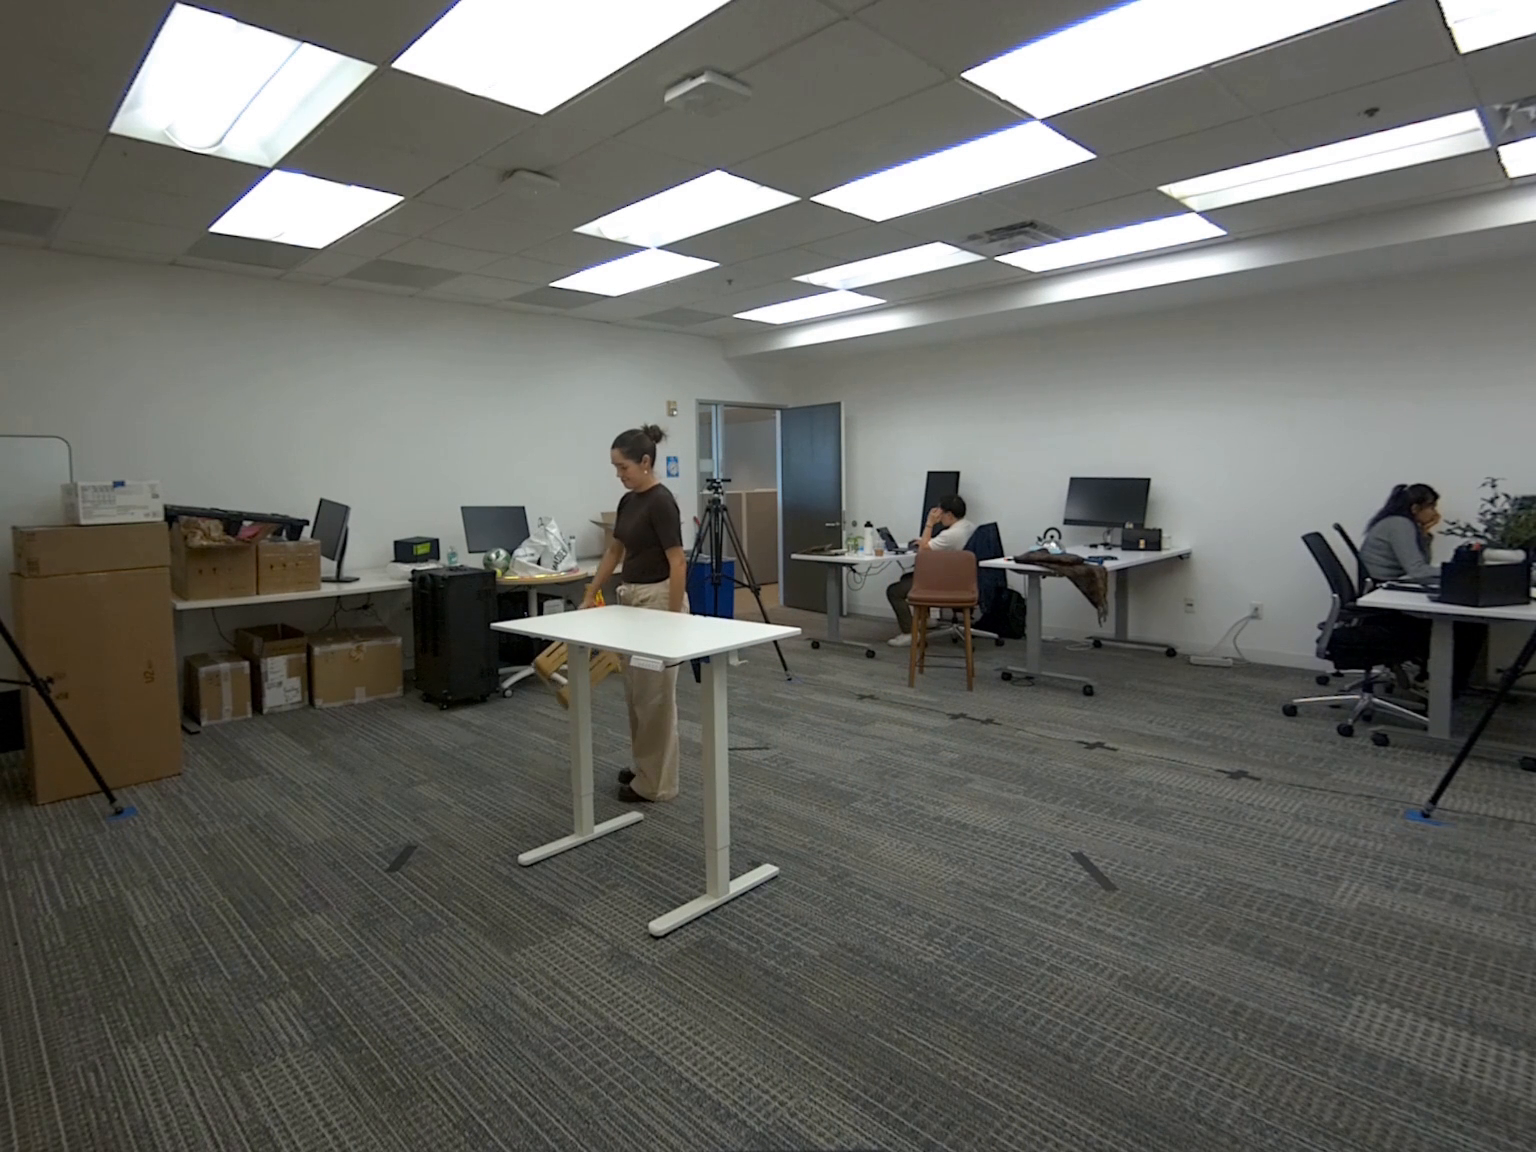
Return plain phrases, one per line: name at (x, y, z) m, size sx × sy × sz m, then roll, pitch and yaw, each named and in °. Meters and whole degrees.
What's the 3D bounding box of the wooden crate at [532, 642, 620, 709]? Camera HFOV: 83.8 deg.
wooden crate at (-0.861, 0.398, 3.849) m, size 0.323 × 0.273 × 0.303 m, roll -43°, pitch 2°, yaw -24°
